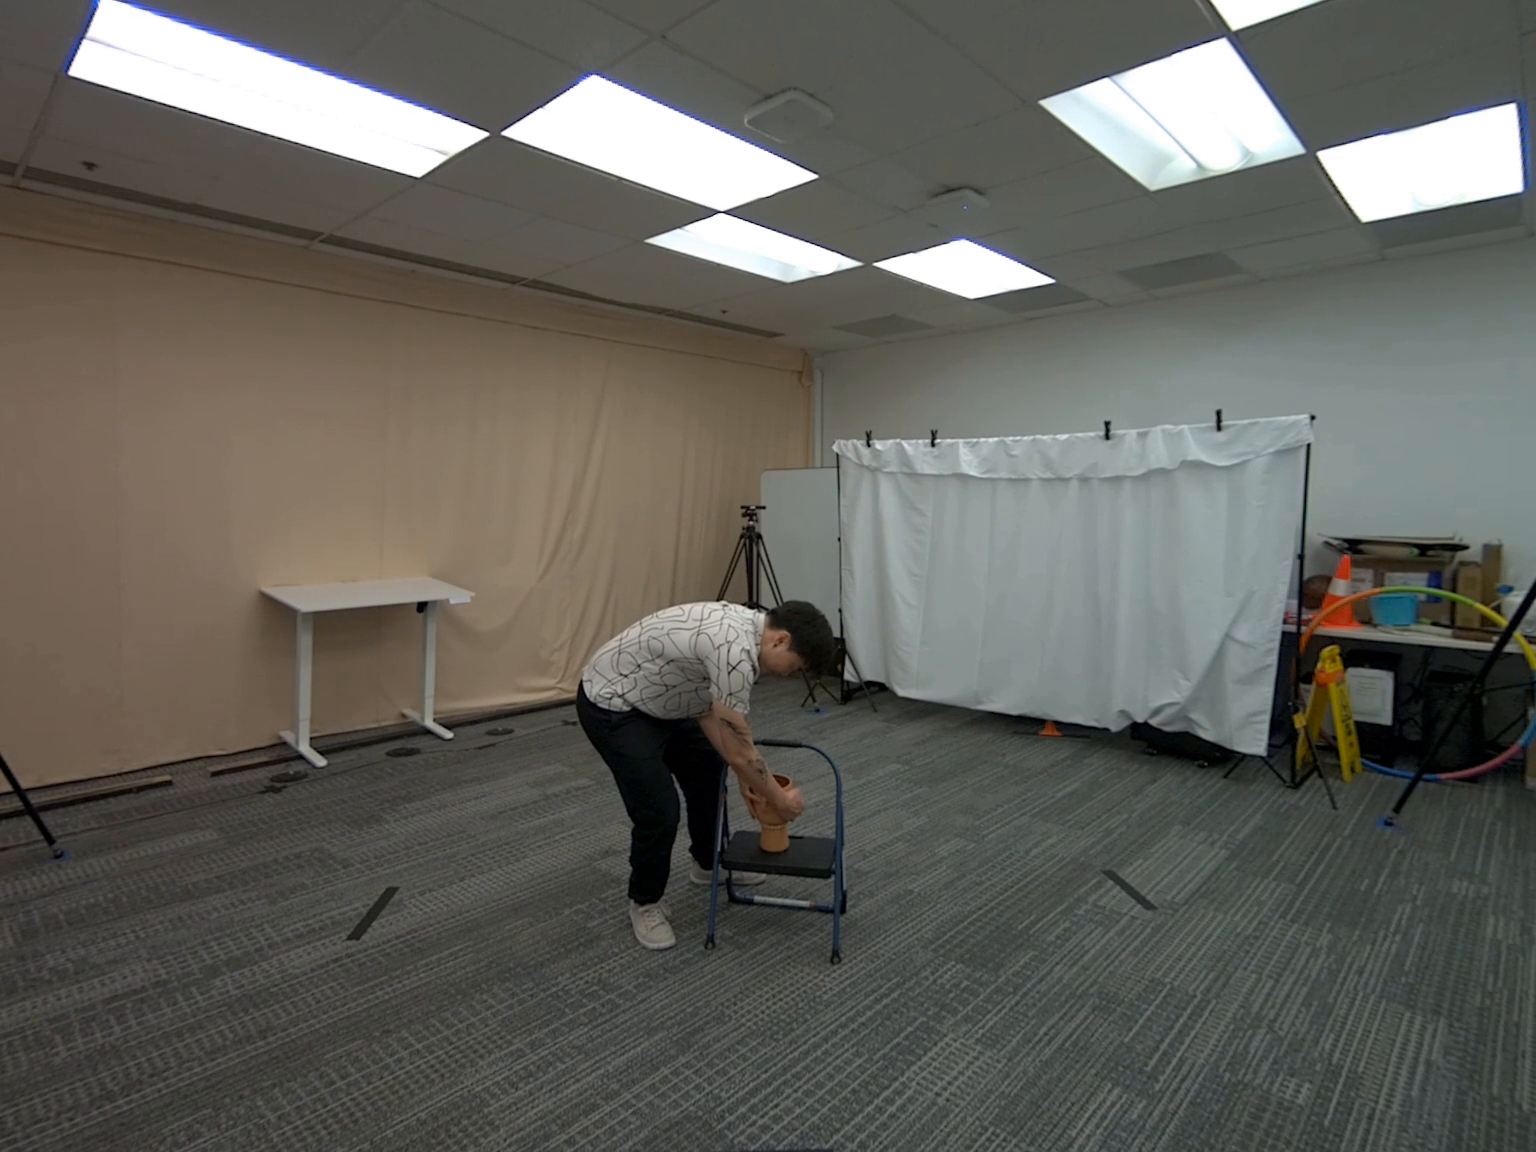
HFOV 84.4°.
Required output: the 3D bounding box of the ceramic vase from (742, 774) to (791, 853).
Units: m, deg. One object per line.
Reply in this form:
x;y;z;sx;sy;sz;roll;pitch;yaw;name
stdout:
0.025;0.773;2.774;0.154;0.218;0.139;-12;10;-40;ceramic vase
